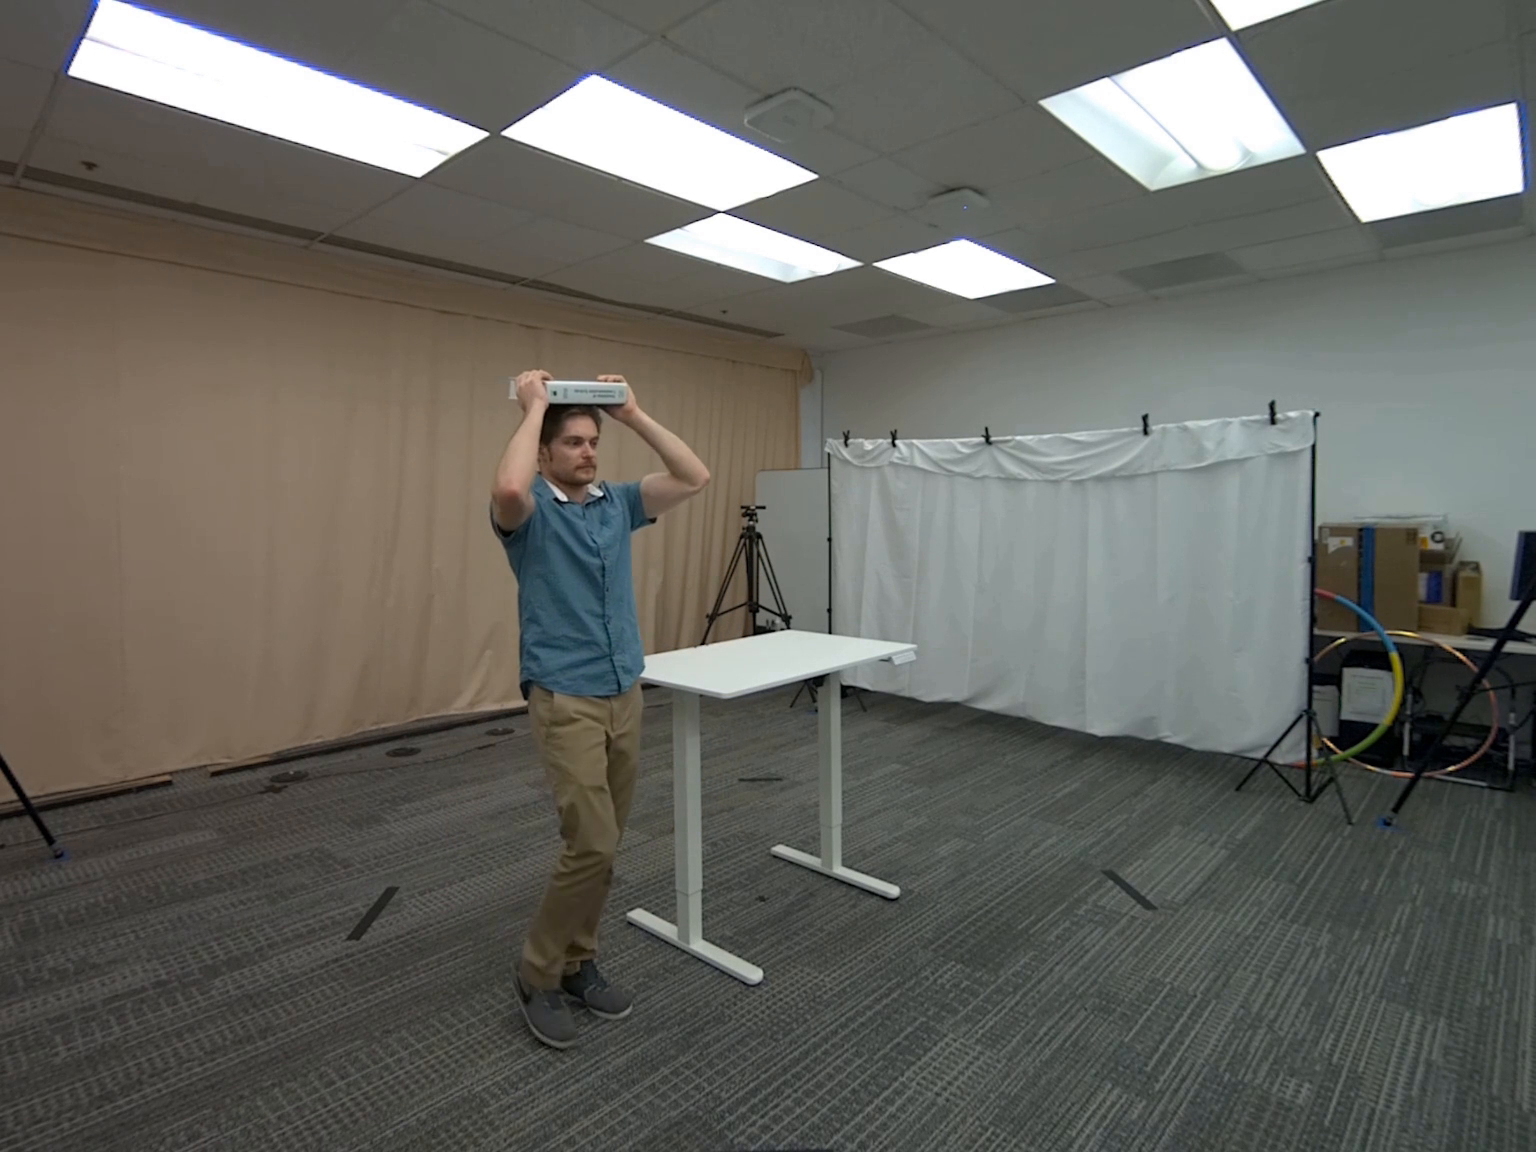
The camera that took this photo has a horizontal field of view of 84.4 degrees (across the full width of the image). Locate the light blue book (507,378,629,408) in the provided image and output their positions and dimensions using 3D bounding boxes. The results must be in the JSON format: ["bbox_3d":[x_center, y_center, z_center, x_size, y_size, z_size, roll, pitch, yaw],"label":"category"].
[{"bbox_3d":[-0.548,-0.503,2.283,0.198,0.058,0.254,13,17,34],"label":"light blue book"}]
